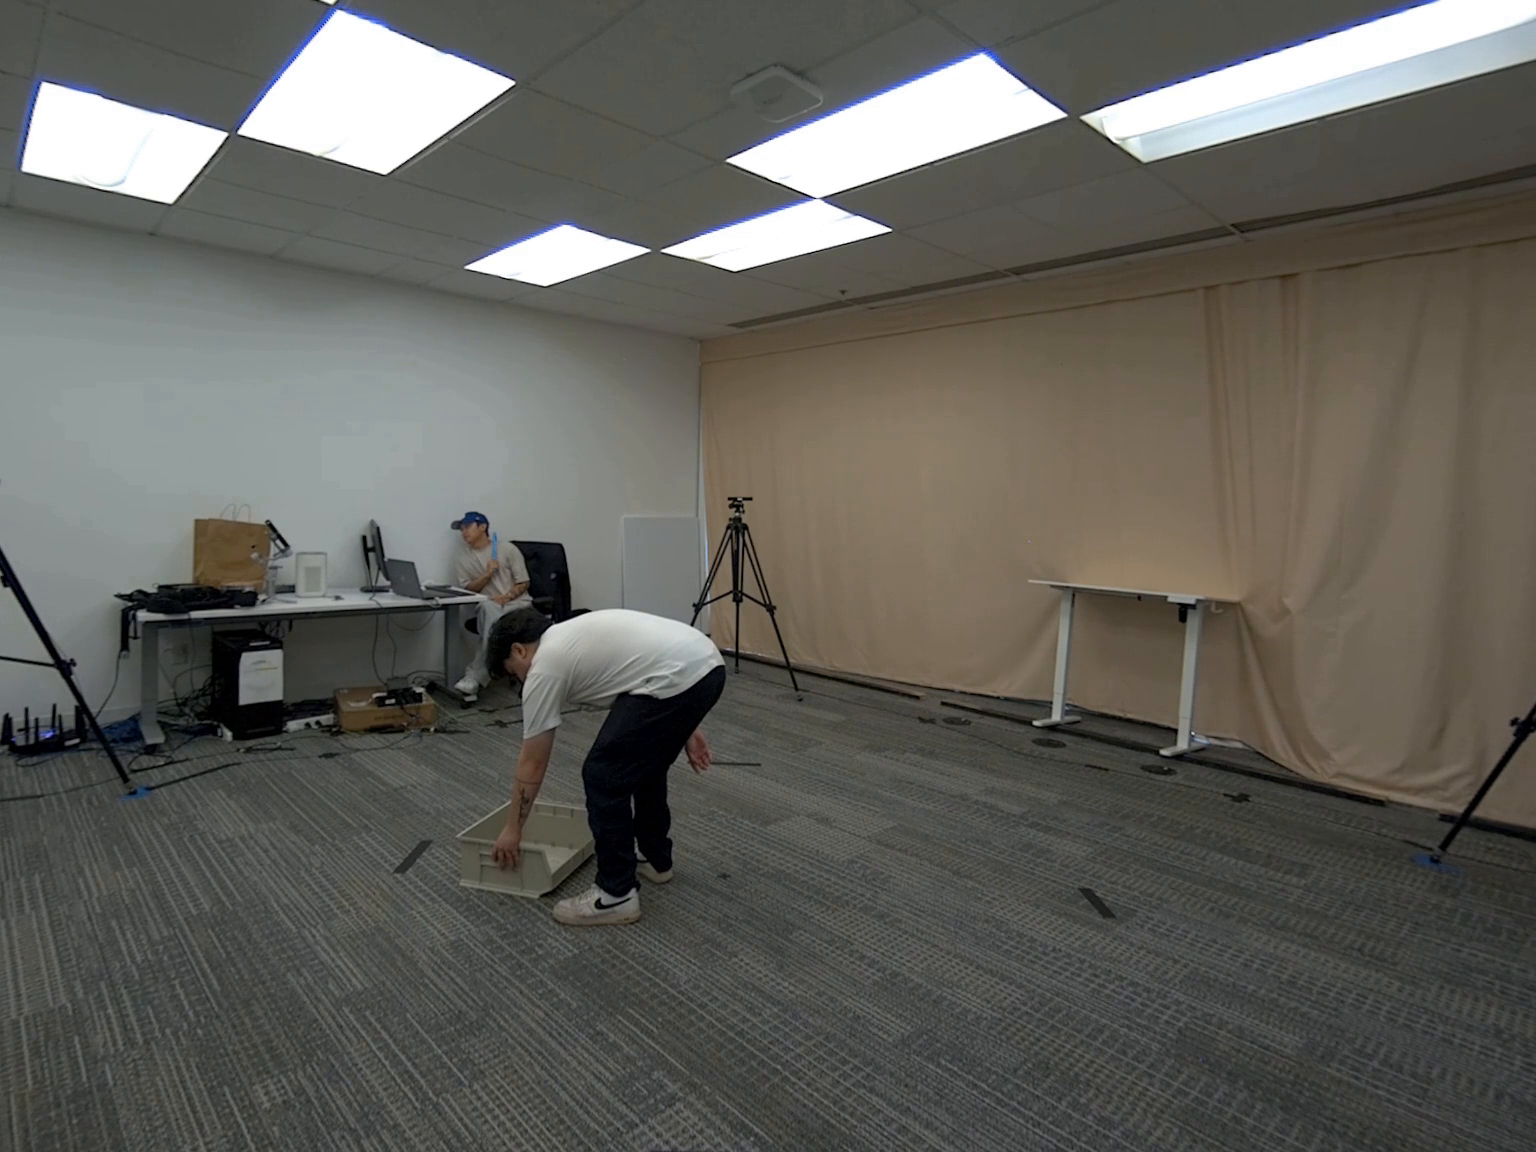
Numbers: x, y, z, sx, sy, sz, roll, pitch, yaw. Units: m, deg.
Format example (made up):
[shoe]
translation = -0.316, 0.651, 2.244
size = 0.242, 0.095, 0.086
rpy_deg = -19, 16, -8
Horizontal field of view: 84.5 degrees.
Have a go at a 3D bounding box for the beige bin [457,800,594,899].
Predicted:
[beige bin]
translation = -0.873, 0.997, 3.126
size = 0.382, 0.188, 0.418
rpy_deg = 2, 5, 14
